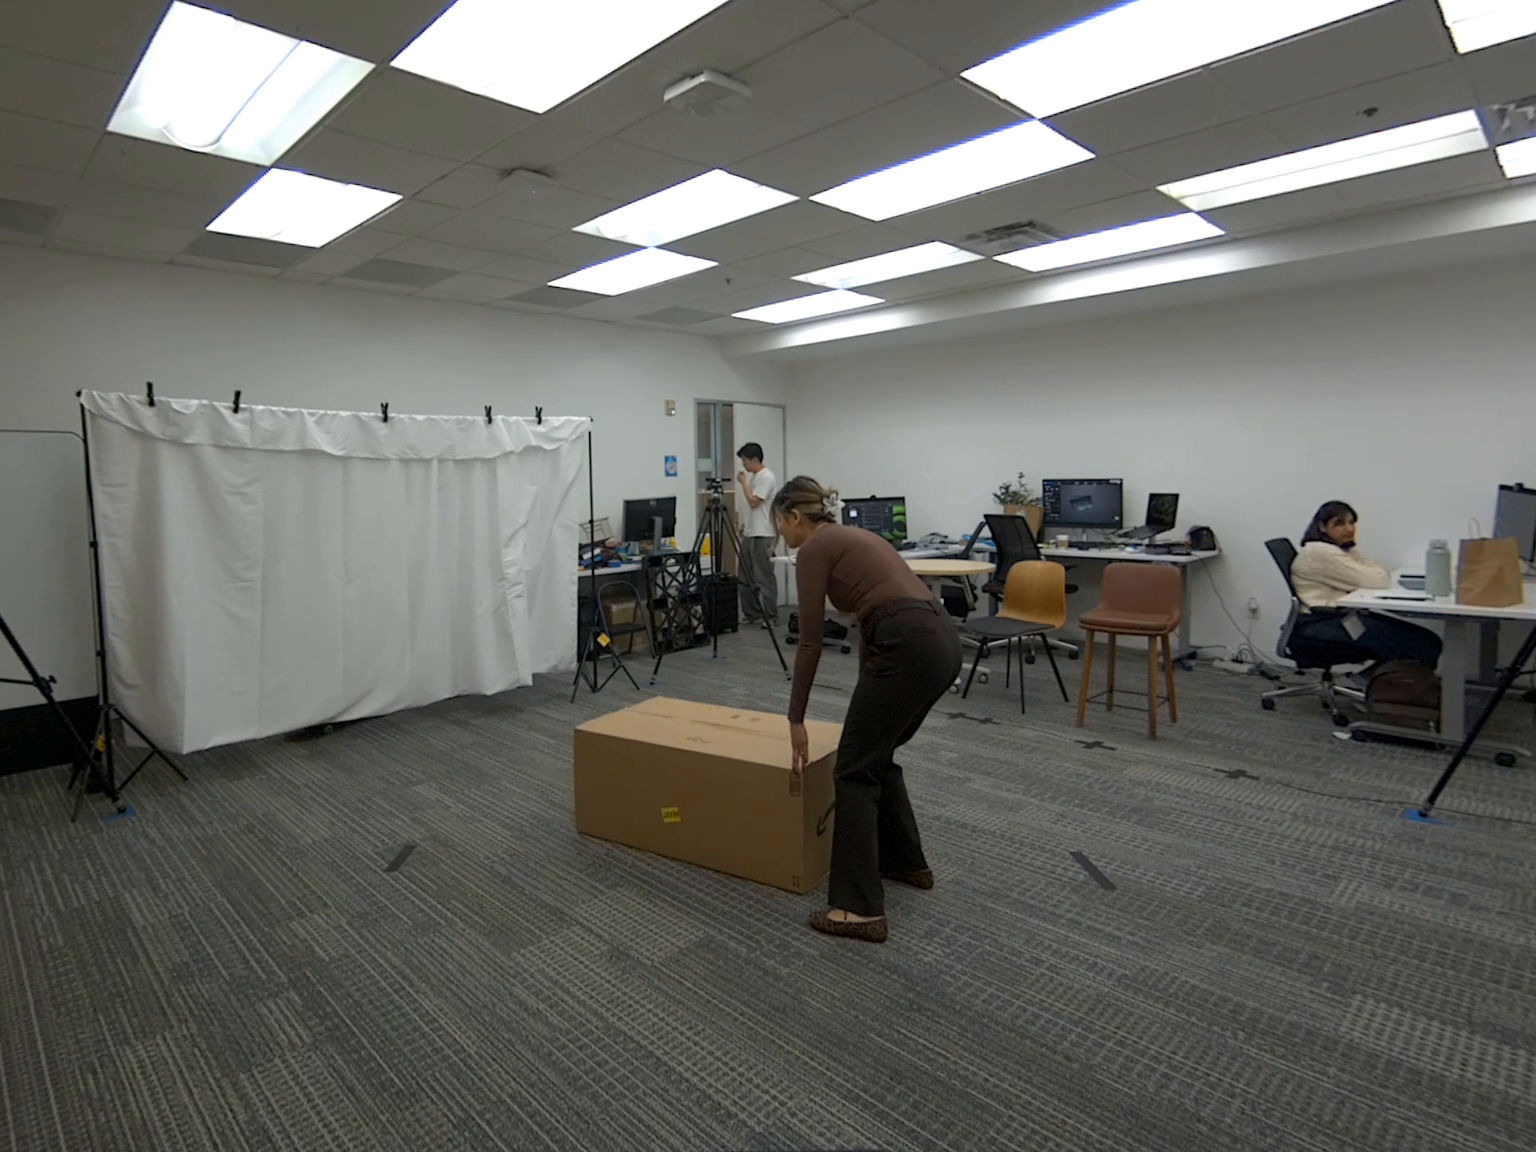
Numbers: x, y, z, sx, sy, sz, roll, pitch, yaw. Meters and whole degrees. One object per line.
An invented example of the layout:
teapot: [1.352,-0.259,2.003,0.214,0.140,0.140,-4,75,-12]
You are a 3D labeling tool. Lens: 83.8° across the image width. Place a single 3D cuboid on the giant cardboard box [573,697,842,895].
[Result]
giant cardboard box: [-0.188,0.807,3.355,1.055,0.445,0.571,2,7,32]
